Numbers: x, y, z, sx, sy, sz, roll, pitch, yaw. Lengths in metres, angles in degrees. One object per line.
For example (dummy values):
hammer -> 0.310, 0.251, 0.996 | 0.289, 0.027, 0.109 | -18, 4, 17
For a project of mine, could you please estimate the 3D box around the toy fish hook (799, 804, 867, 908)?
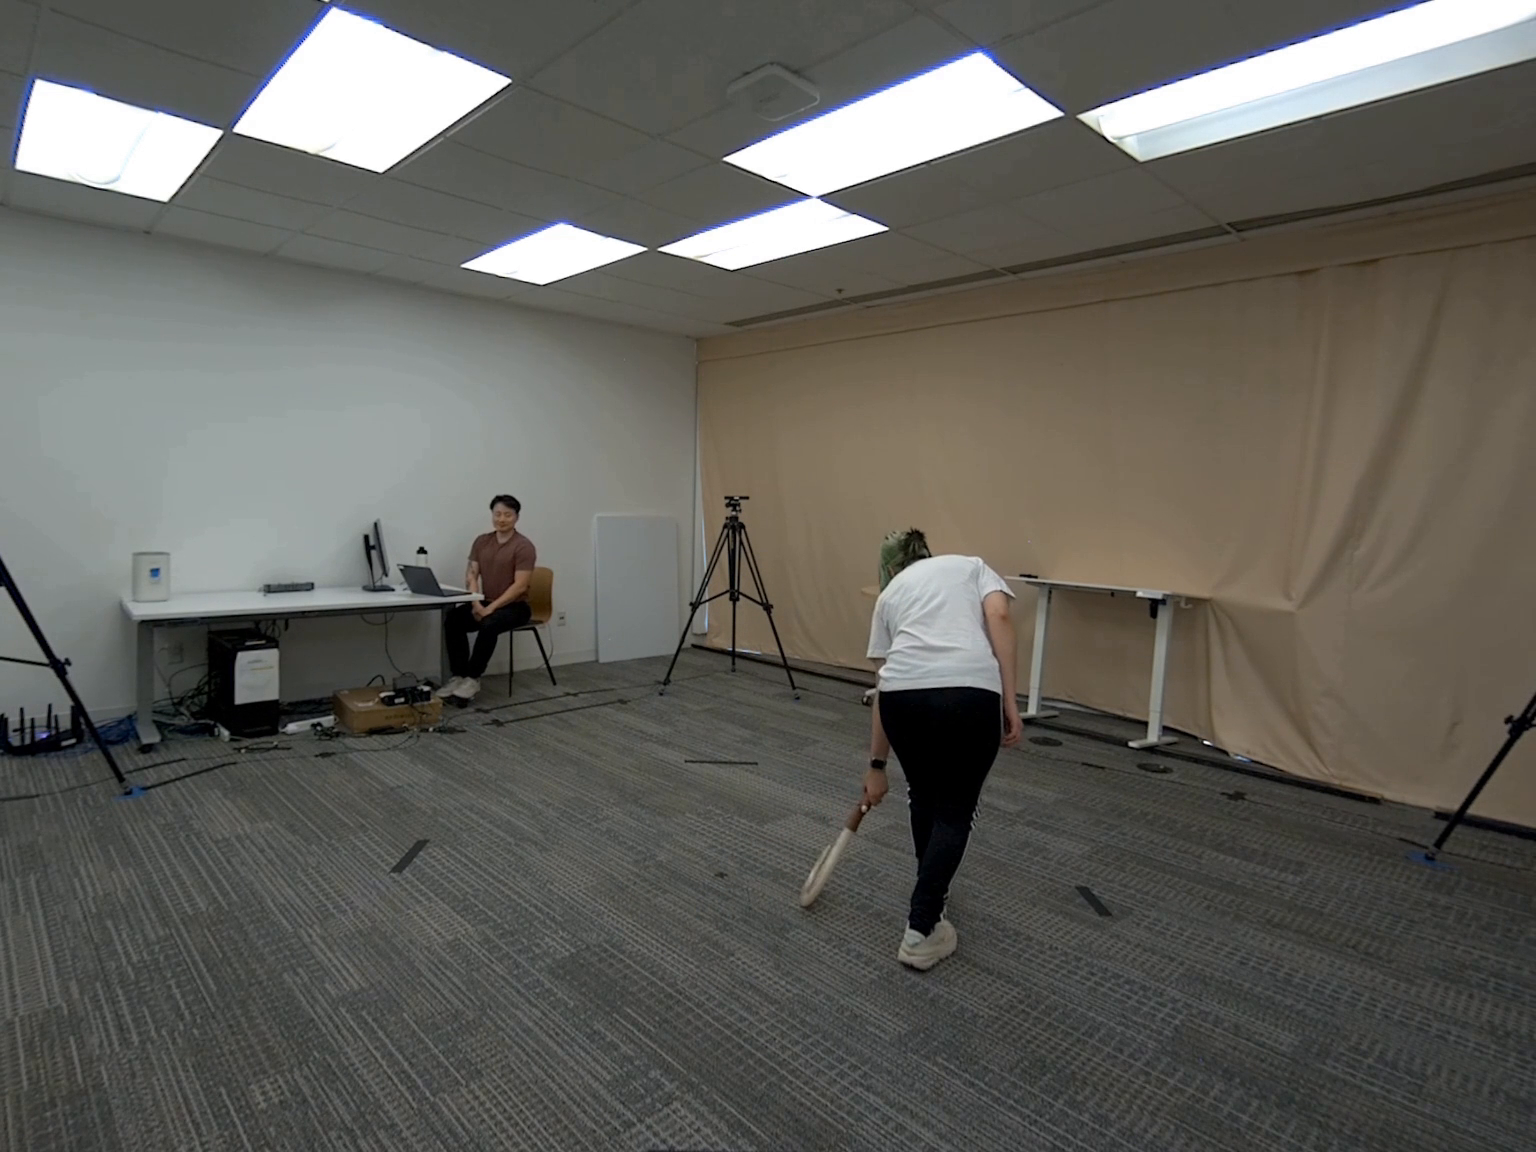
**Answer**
toy fish hook -> 0.243, 0.904, 2.904 | 0.048, 0.507, 0.224 | 33, -2, -2
